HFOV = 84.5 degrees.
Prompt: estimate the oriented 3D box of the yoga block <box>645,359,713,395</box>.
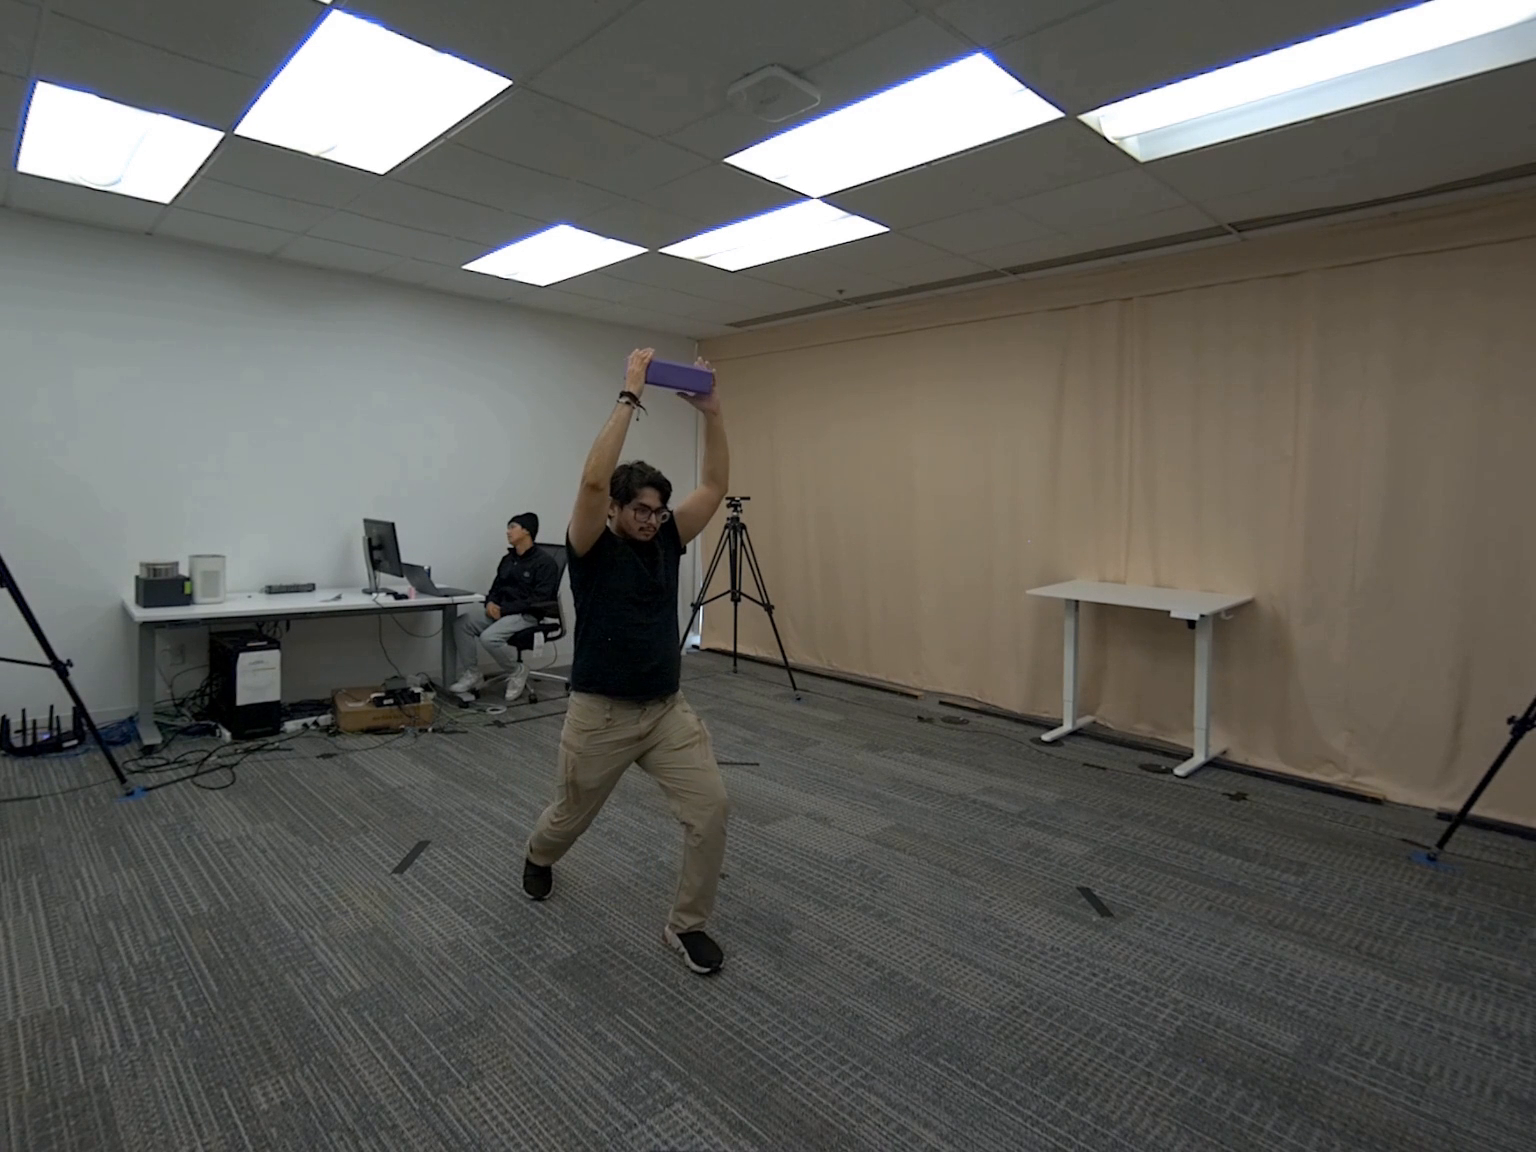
[{"bbox_3d":[-0.313,-0.613,2.549,0.224,0.076,0.153,1,12,-41],"label":"yoga block"}]
